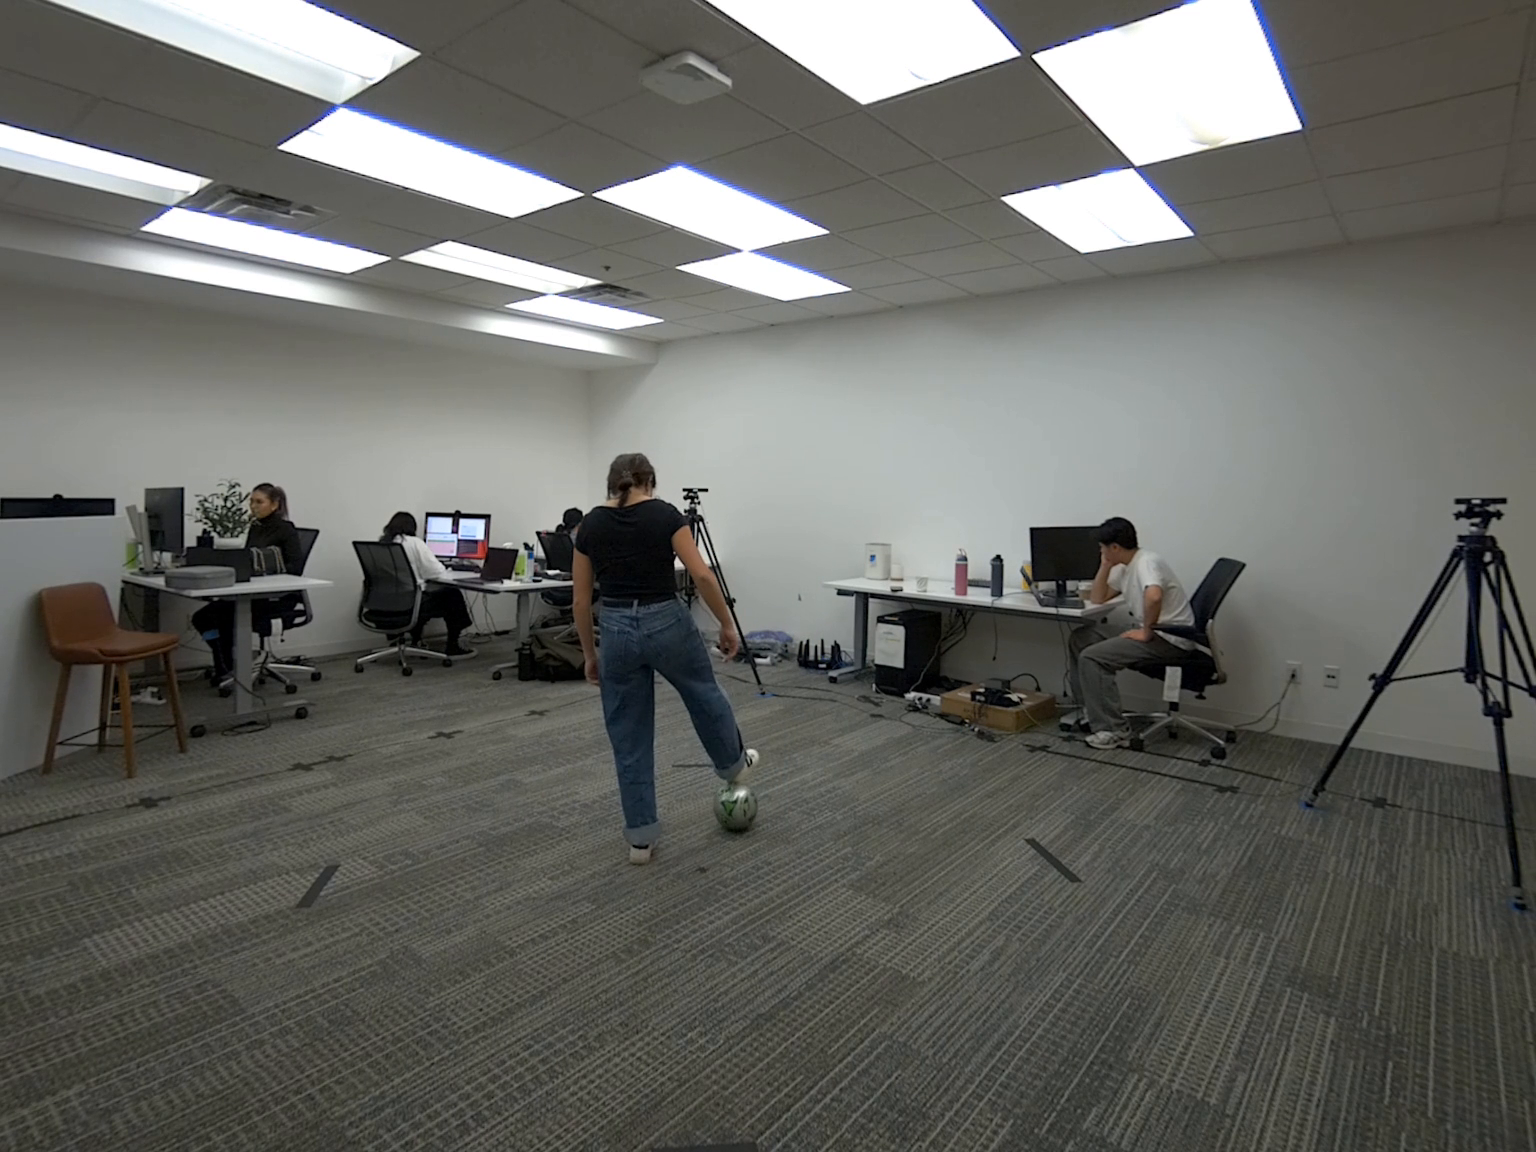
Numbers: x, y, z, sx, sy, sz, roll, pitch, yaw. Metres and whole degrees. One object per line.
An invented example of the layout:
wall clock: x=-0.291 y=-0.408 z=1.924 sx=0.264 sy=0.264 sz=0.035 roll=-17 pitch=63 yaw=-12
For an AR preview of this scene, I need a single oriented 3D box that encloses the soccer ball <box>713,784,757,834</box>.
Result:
soccer ball: x=-0.139 y=0.938 z=3.480 sx=0.187 sy=0.187 sz=0.188 roll=1 pitch=4 yaw=-2
